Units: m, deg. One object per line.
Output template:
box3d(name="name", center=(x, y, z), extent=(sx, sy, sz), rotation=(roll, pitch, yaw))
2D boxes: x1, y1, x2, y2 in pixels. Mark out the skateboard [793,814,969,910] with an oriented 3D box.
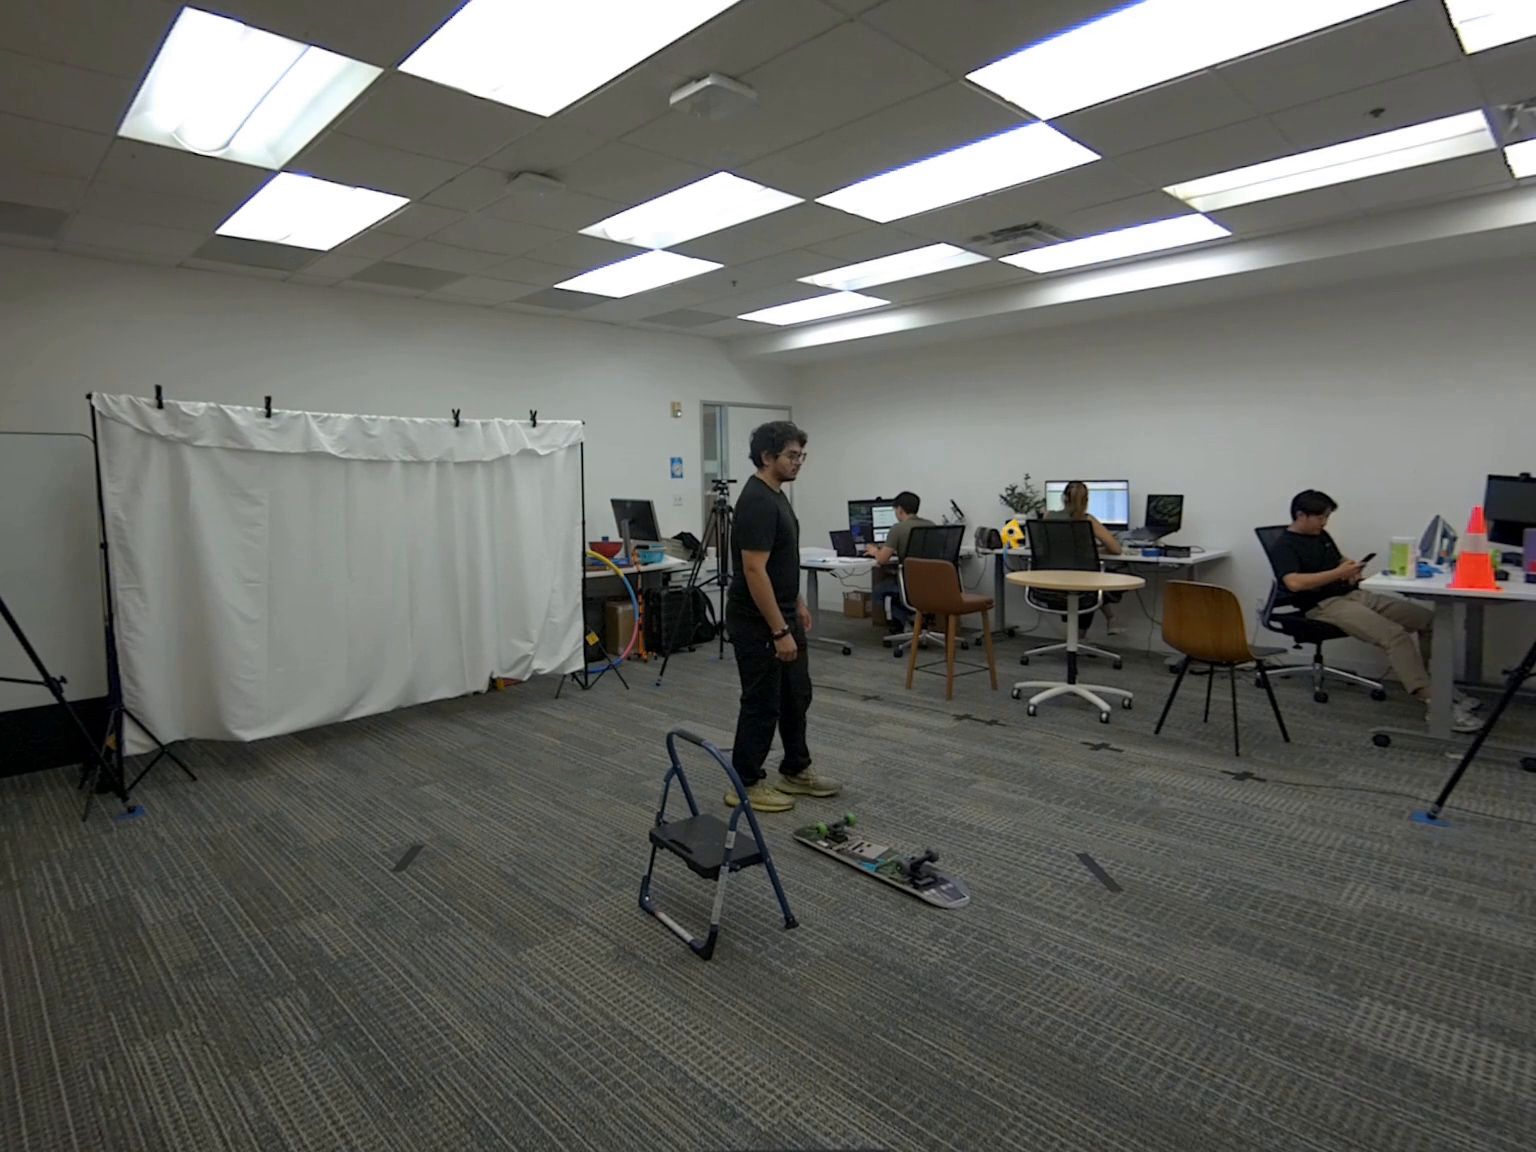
box3d(name="skateboard", center=(0.389, 0.991, 3.086), extent=(0.188, 0.110, 0.809), rotation=(-6, 8, -38))
